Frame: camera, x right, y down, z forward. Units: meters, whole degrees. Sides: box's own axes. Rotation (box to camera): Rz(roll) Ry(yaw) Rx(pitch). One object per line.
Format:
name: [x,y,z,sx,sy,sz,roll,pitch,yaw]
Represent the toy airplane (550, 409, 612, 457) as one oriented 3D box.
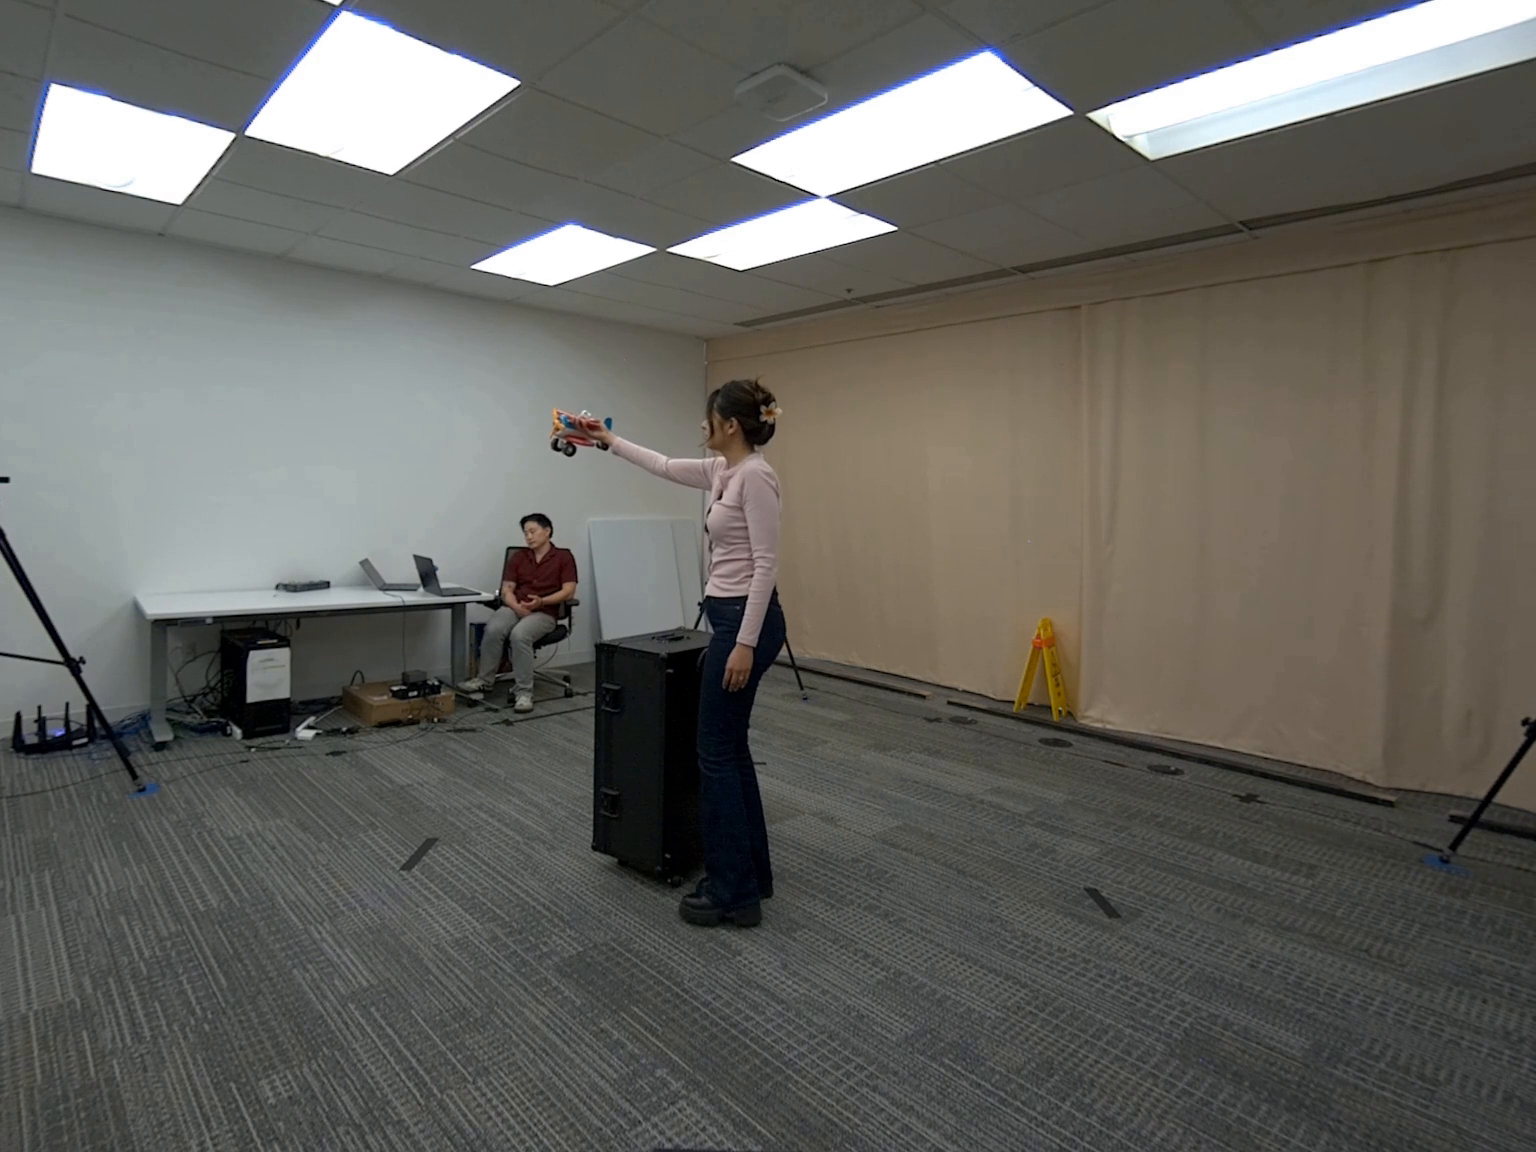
toy airplane: [-0.750,-0.569,3.306,0.255,0.154,0.258,12,23,16]
